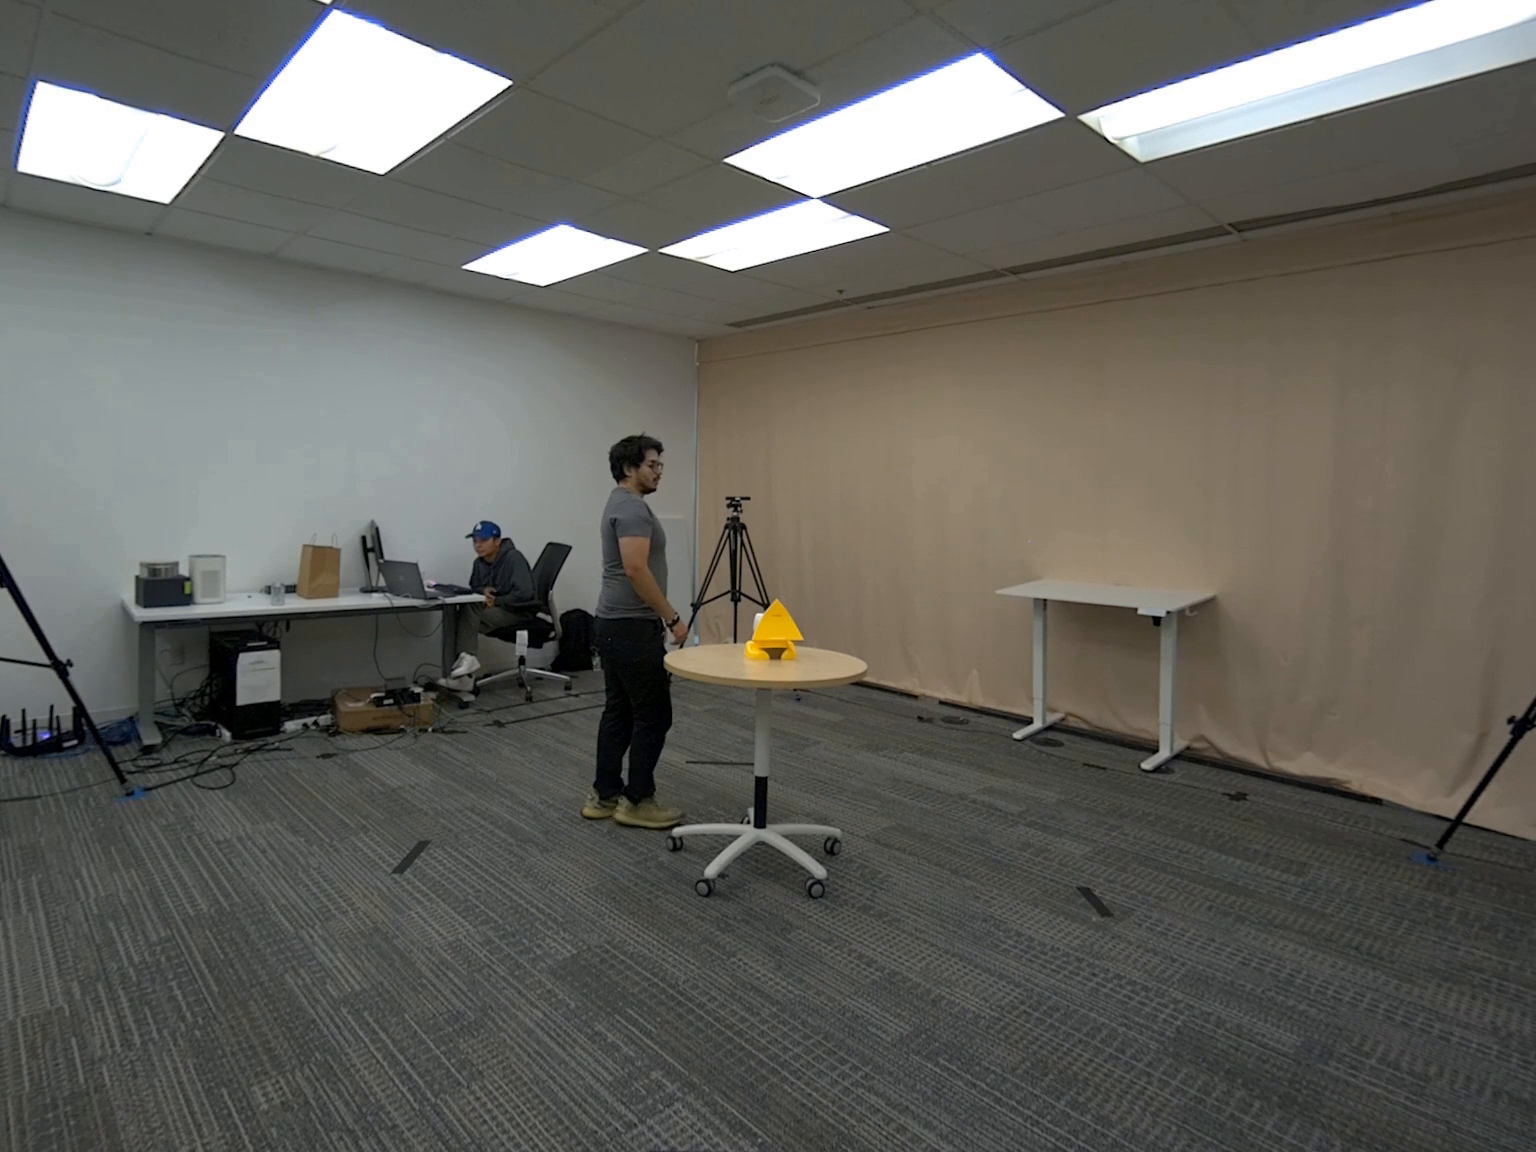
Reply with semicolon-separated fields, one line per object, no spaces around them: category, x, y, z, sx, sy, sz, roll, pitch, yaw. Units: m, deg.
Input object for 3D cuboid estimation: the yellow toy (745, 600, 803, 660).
yellow toy;0.004;0.198;3.269;0.202;0.230;0.196;1;4;-15
